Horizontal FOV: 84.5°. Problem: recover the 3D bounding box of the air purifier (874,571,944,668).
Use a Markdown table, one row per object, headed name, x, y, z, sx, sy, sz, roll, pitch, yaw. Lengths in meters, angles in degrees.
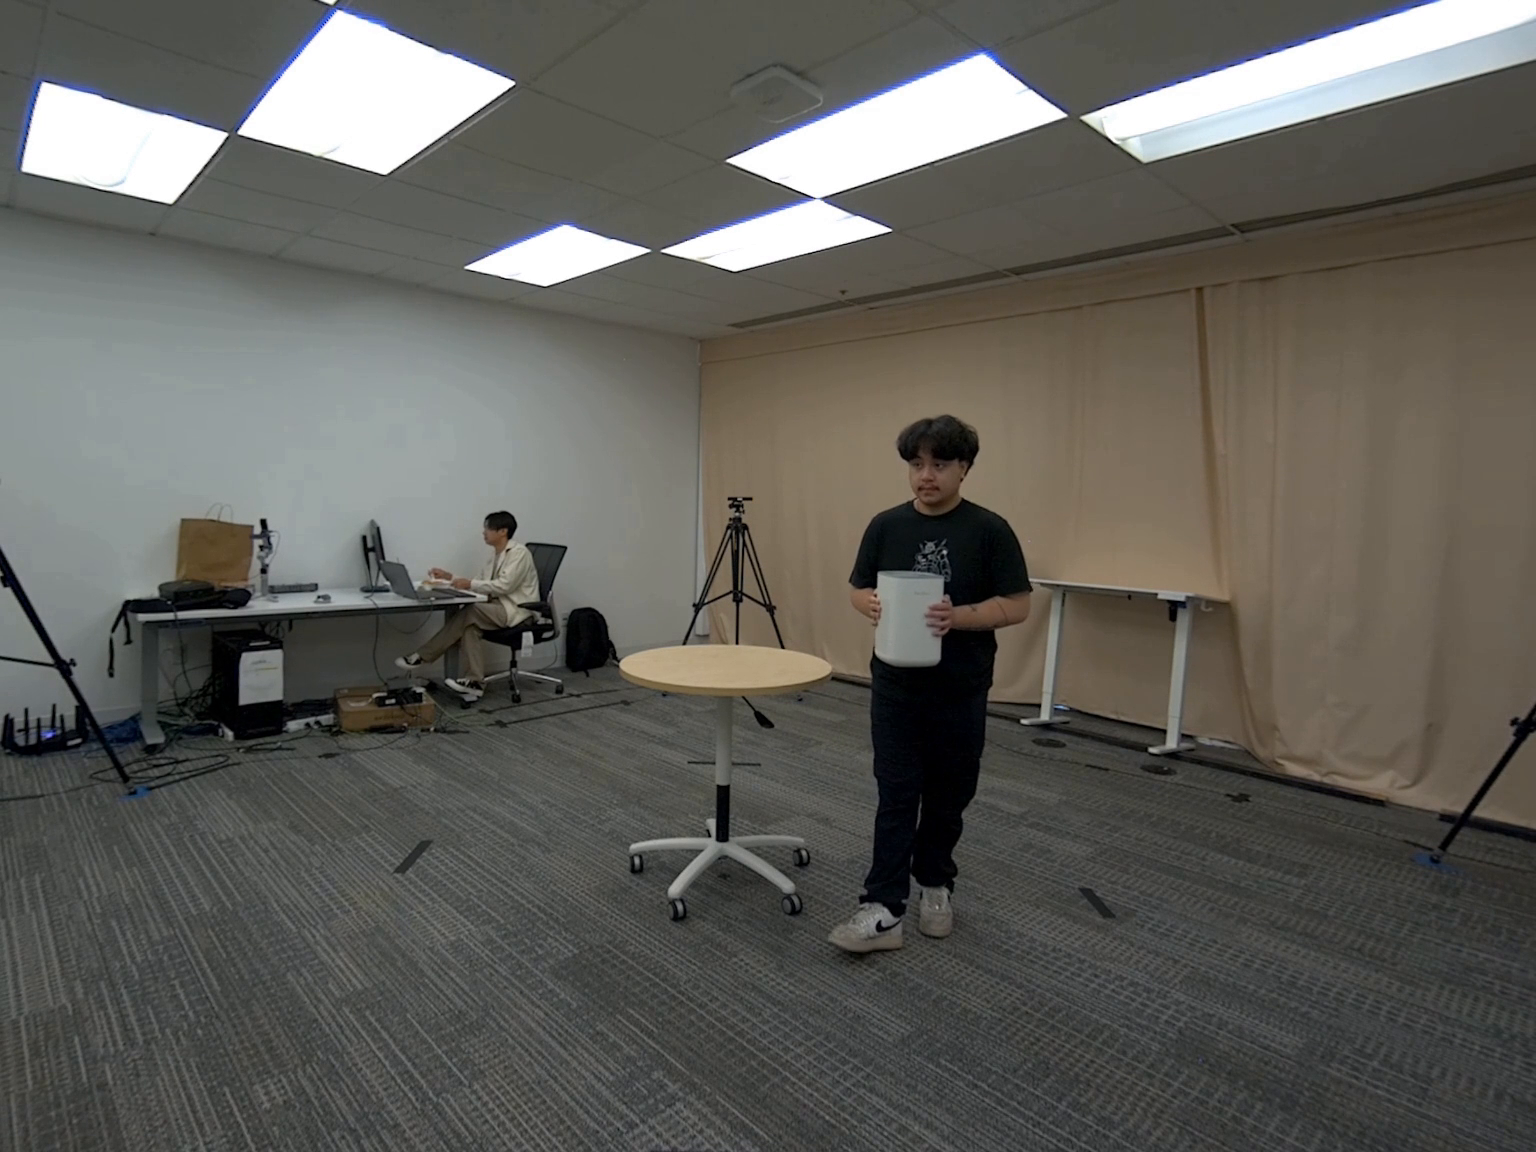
| name | x | y | z | sx | sy | sz | roll | pitch | yaw |
| --- | --- | --- | --- | --- | --- | --- | --- | --- | --- |
| air purifier | 0.412 | 0.127 | 2.481 | 0.169 | 0.265 | 0.173 | 3 | 4 | -11 |
